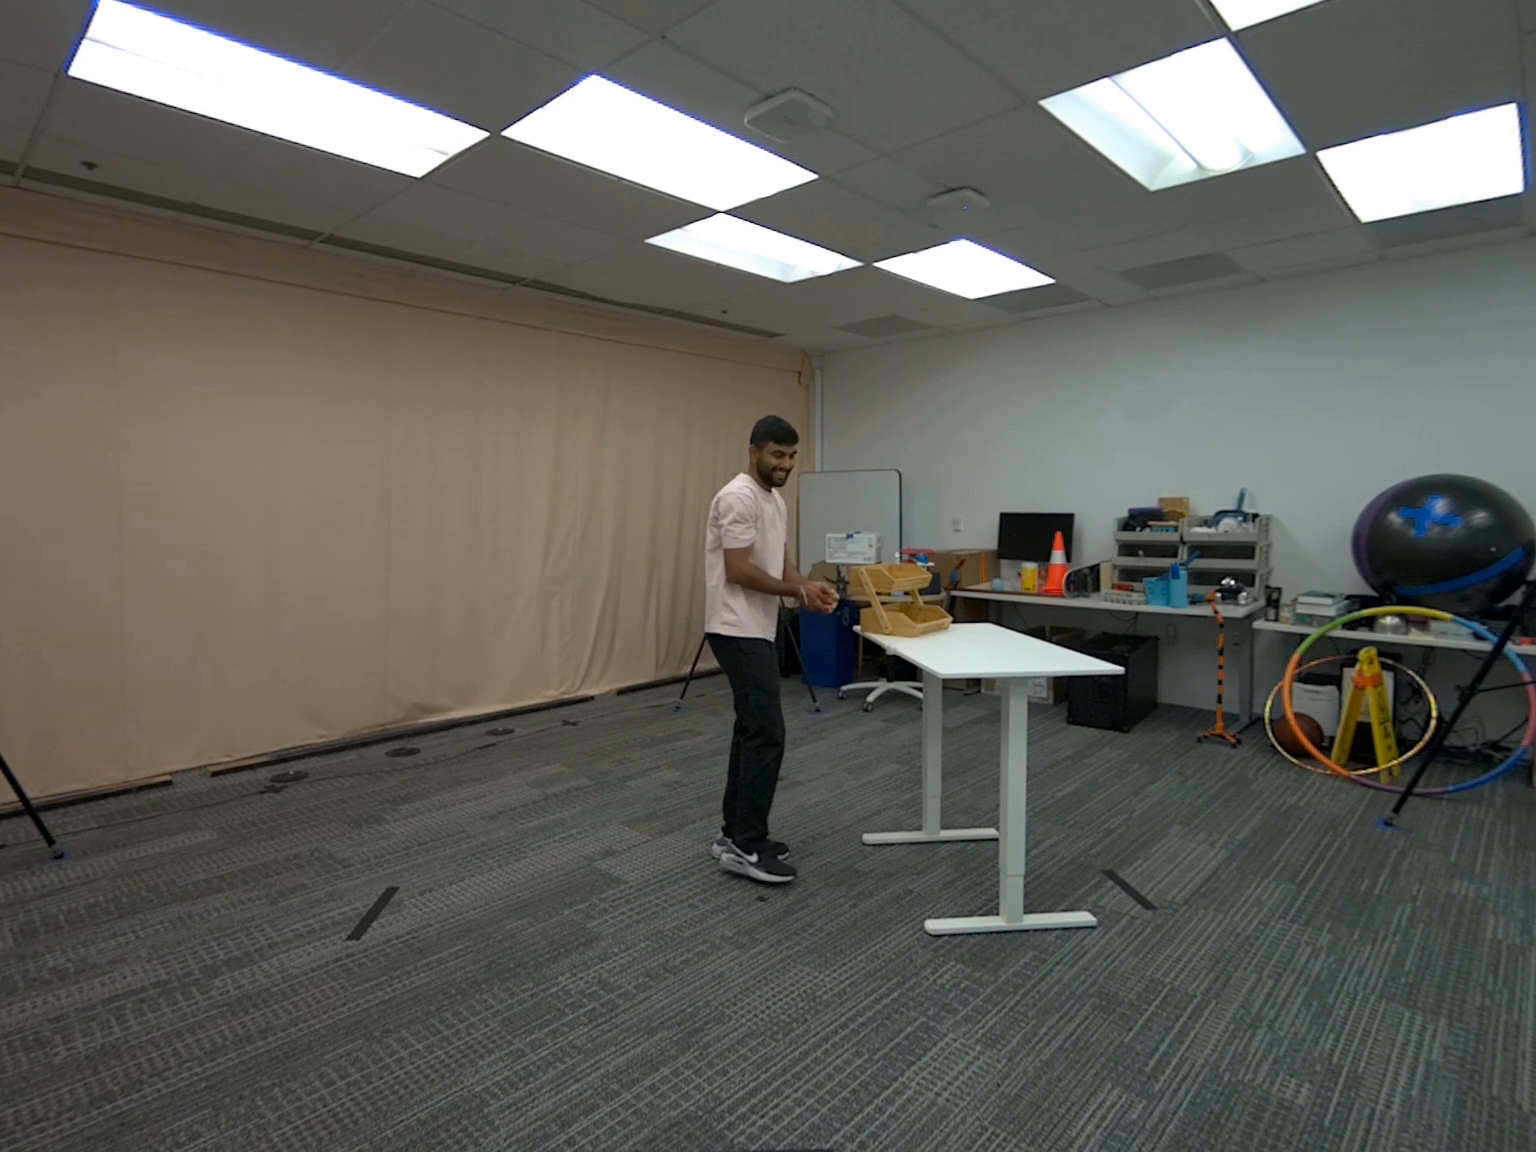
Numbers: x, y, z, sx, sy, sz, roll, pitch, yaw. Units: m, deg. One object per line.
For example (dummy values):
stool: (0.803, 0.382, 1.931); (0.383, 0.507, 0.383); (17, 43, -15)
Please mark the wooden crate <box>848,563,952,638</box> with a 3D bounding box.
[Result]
wooden crate: (0.546, 0.089, 3.424); (0.312, 0.273, 0.314); (2, 4, 41)
